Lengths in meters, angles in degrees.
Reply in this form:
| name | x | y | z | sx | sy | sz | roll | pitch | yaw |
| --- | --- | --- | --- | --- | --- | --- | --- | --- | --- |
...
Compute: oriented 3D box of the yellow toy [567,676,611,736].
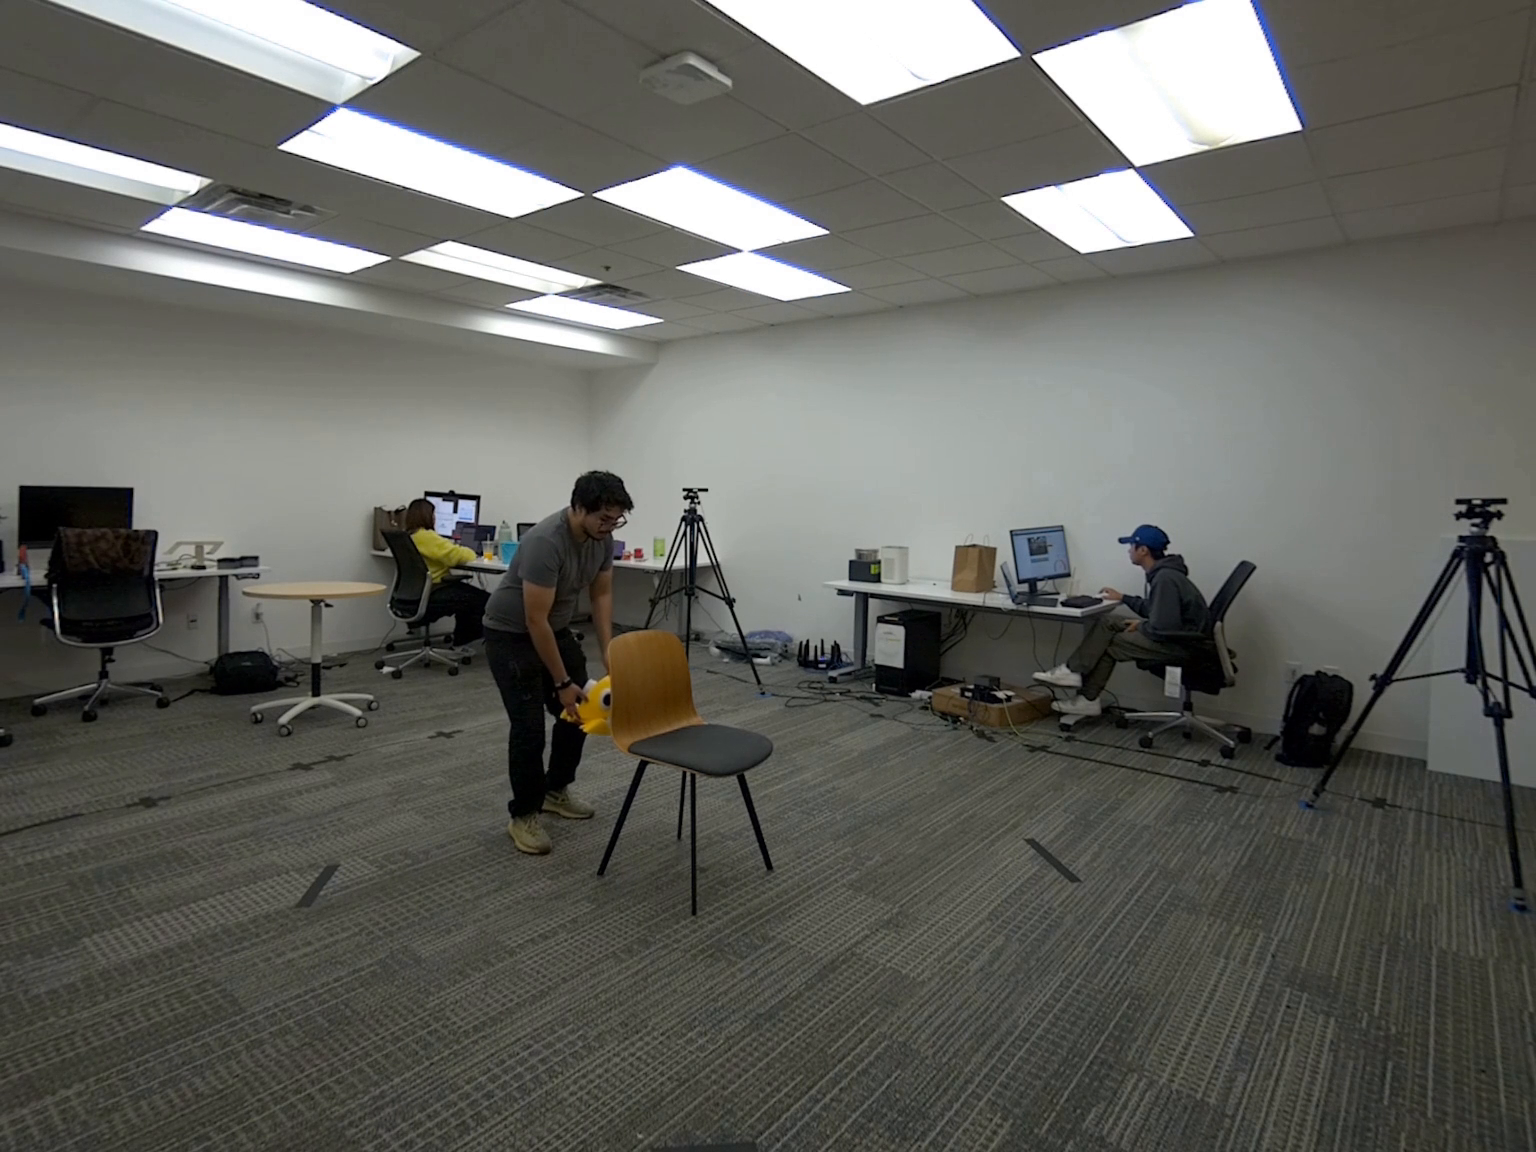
| name | x | y | z | sx | sy | sz | roll | pitch | yaw |
| --- | --- | --- | --- | --- | --- | --- | --- | --- | --- |
| yellow toy | -0.684 | 0.479 | 3.330 | 0.212 | 0.231 | 0.186 | 20 | 0 | 29 |
